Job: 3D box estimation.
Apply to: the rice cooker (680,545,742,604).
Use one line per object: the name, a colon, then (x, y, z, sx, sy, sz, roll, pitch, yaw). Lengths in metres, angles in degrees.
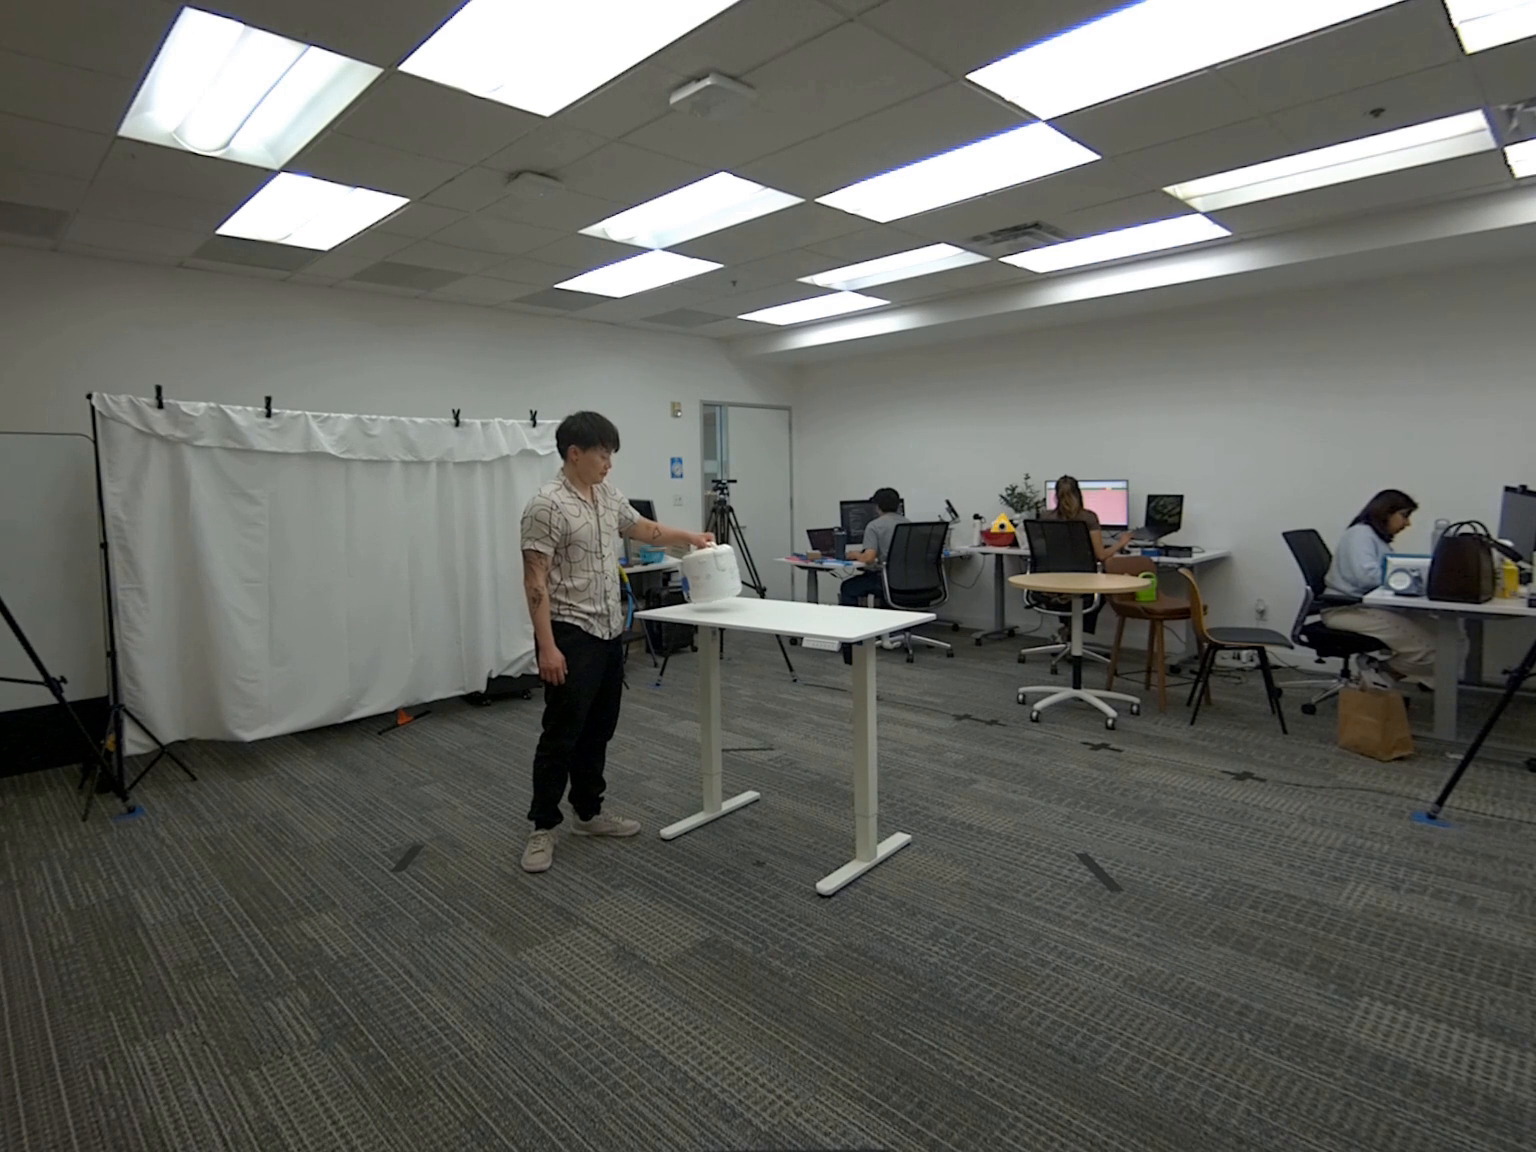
rice cooker: (-0.228, -0.022, 3.382, 0.213, 0.232, 0.225, -13, 3, -27)
